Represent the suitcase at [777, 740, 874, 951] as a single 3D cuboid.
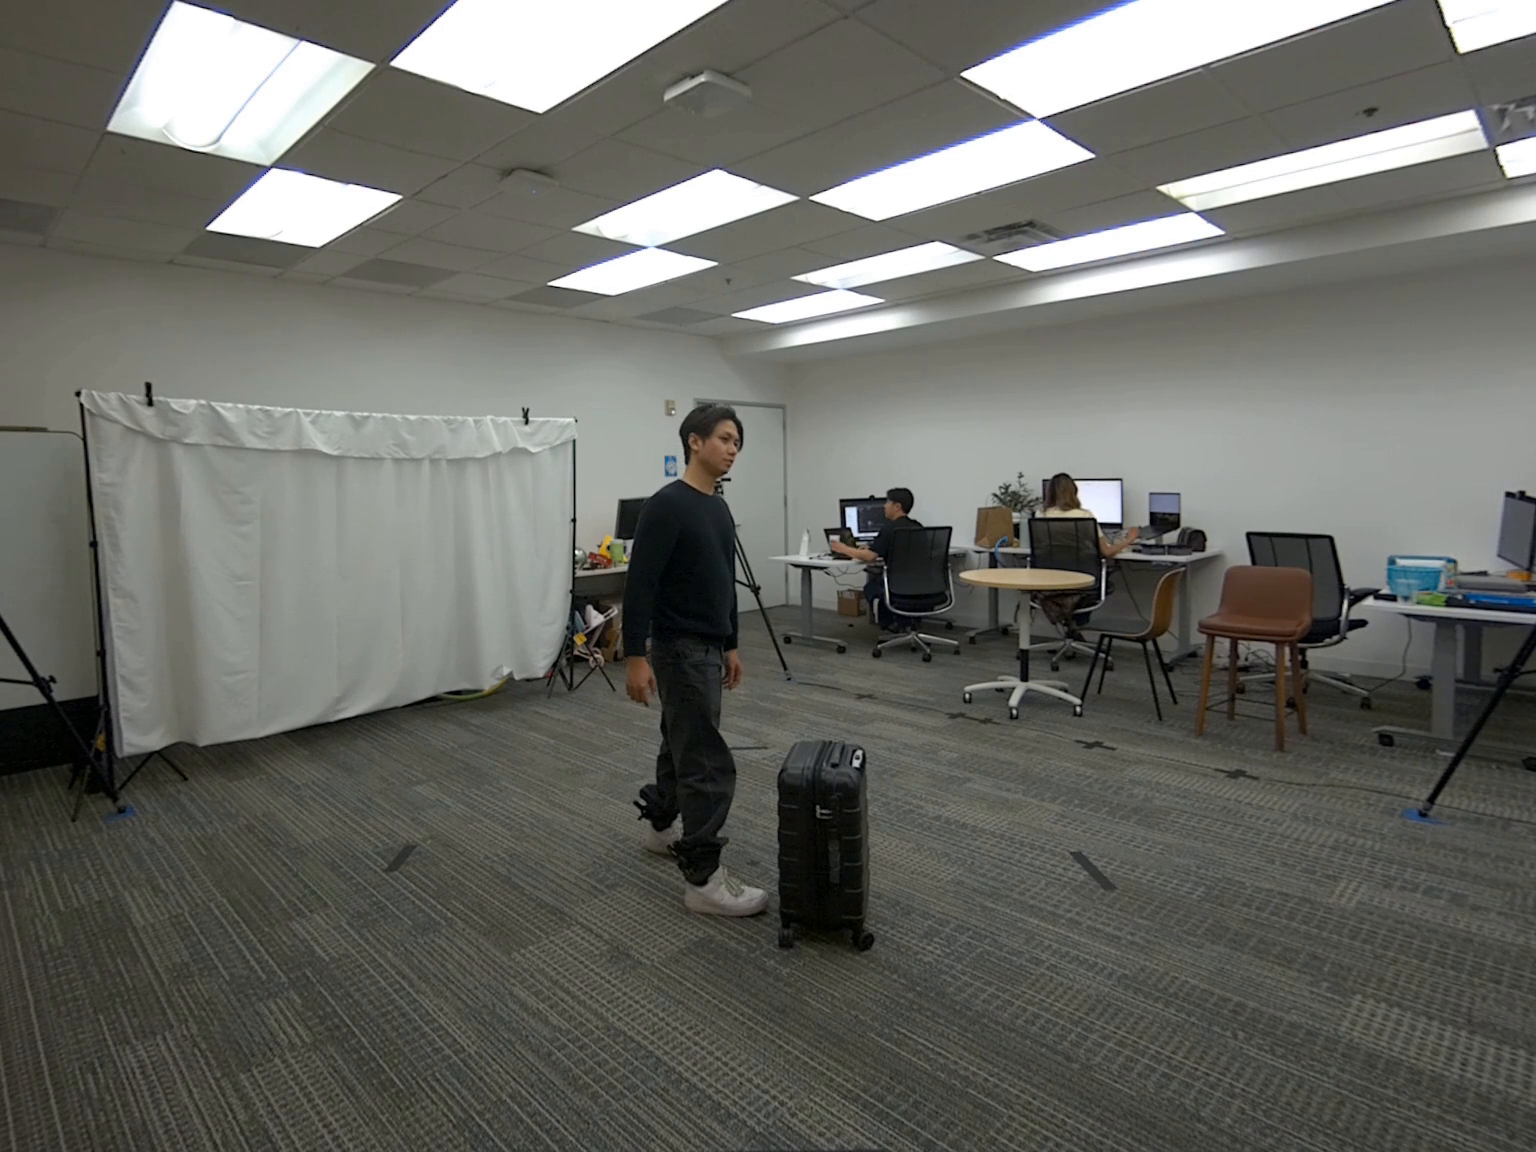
[{"bbox_3d":[0.180,0.809,2.671,0.251,0.547,0.373,-1,5,11],"label":"suitcase"}]
